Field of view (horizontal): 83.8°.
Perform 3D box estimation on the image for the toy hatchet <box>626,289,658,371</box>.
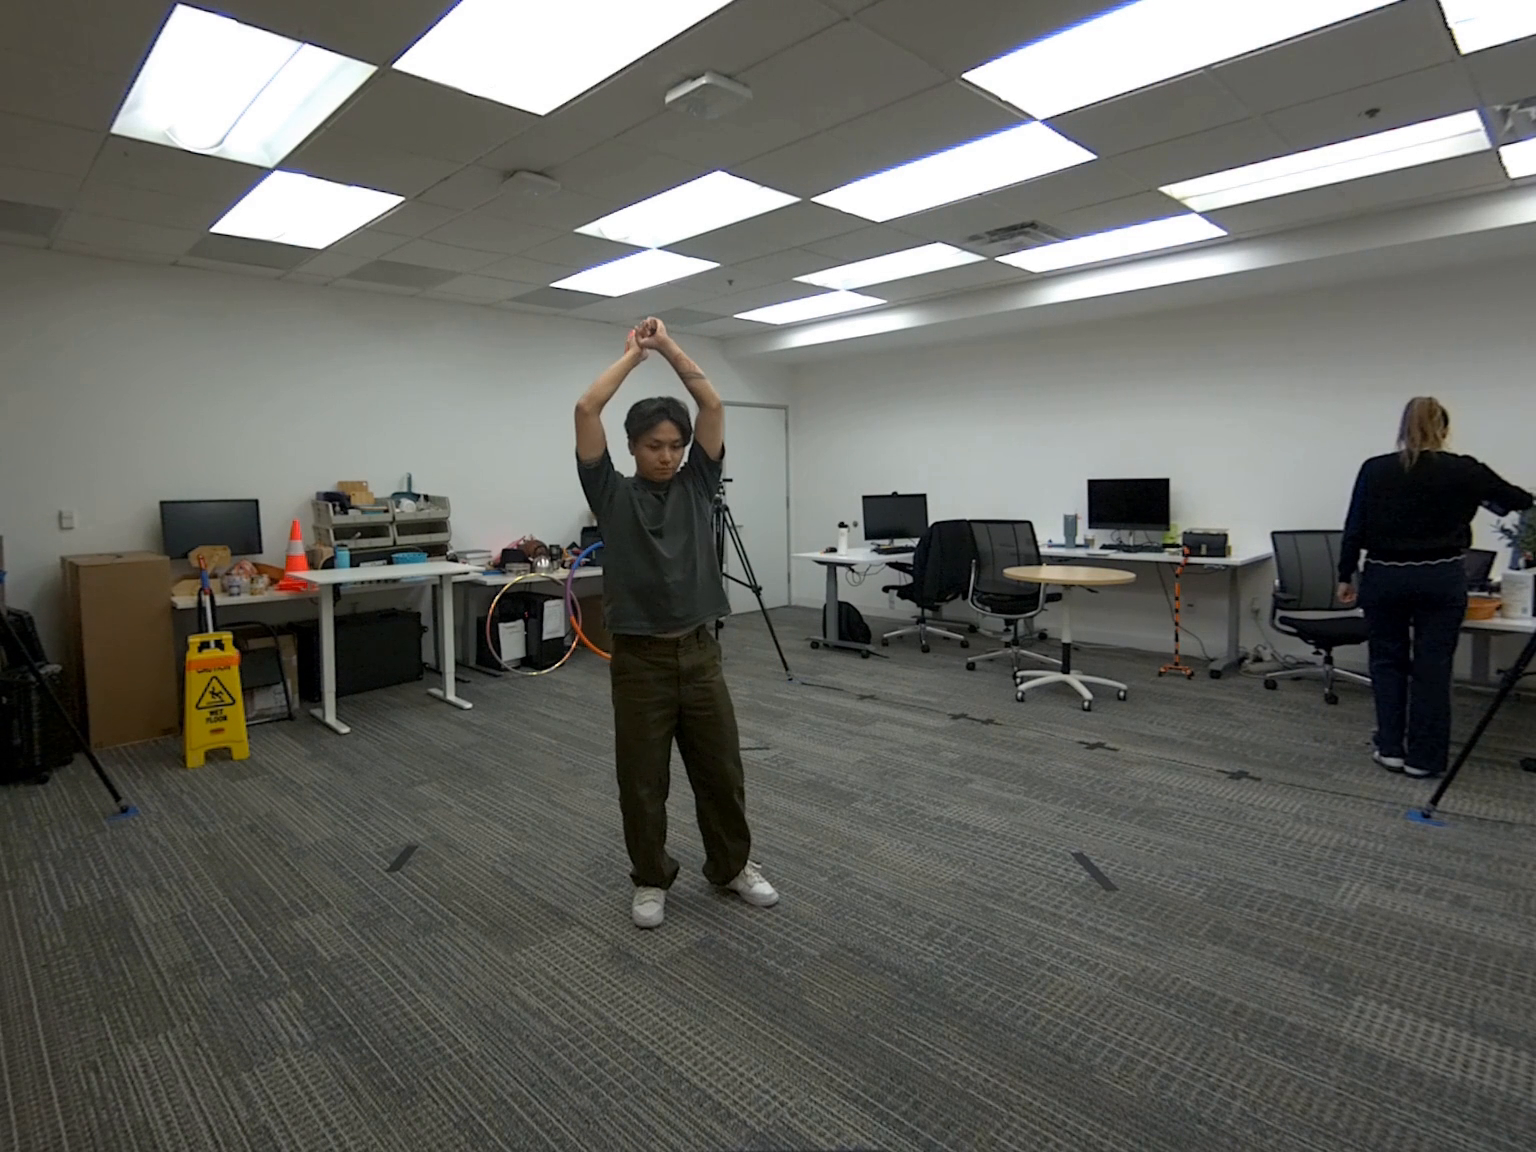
[{"bbox_3d":[-0.407,-0.781,2.730,0.029,0.133,0.271,8,-17,-21],"label":"toy hatchet"}]
